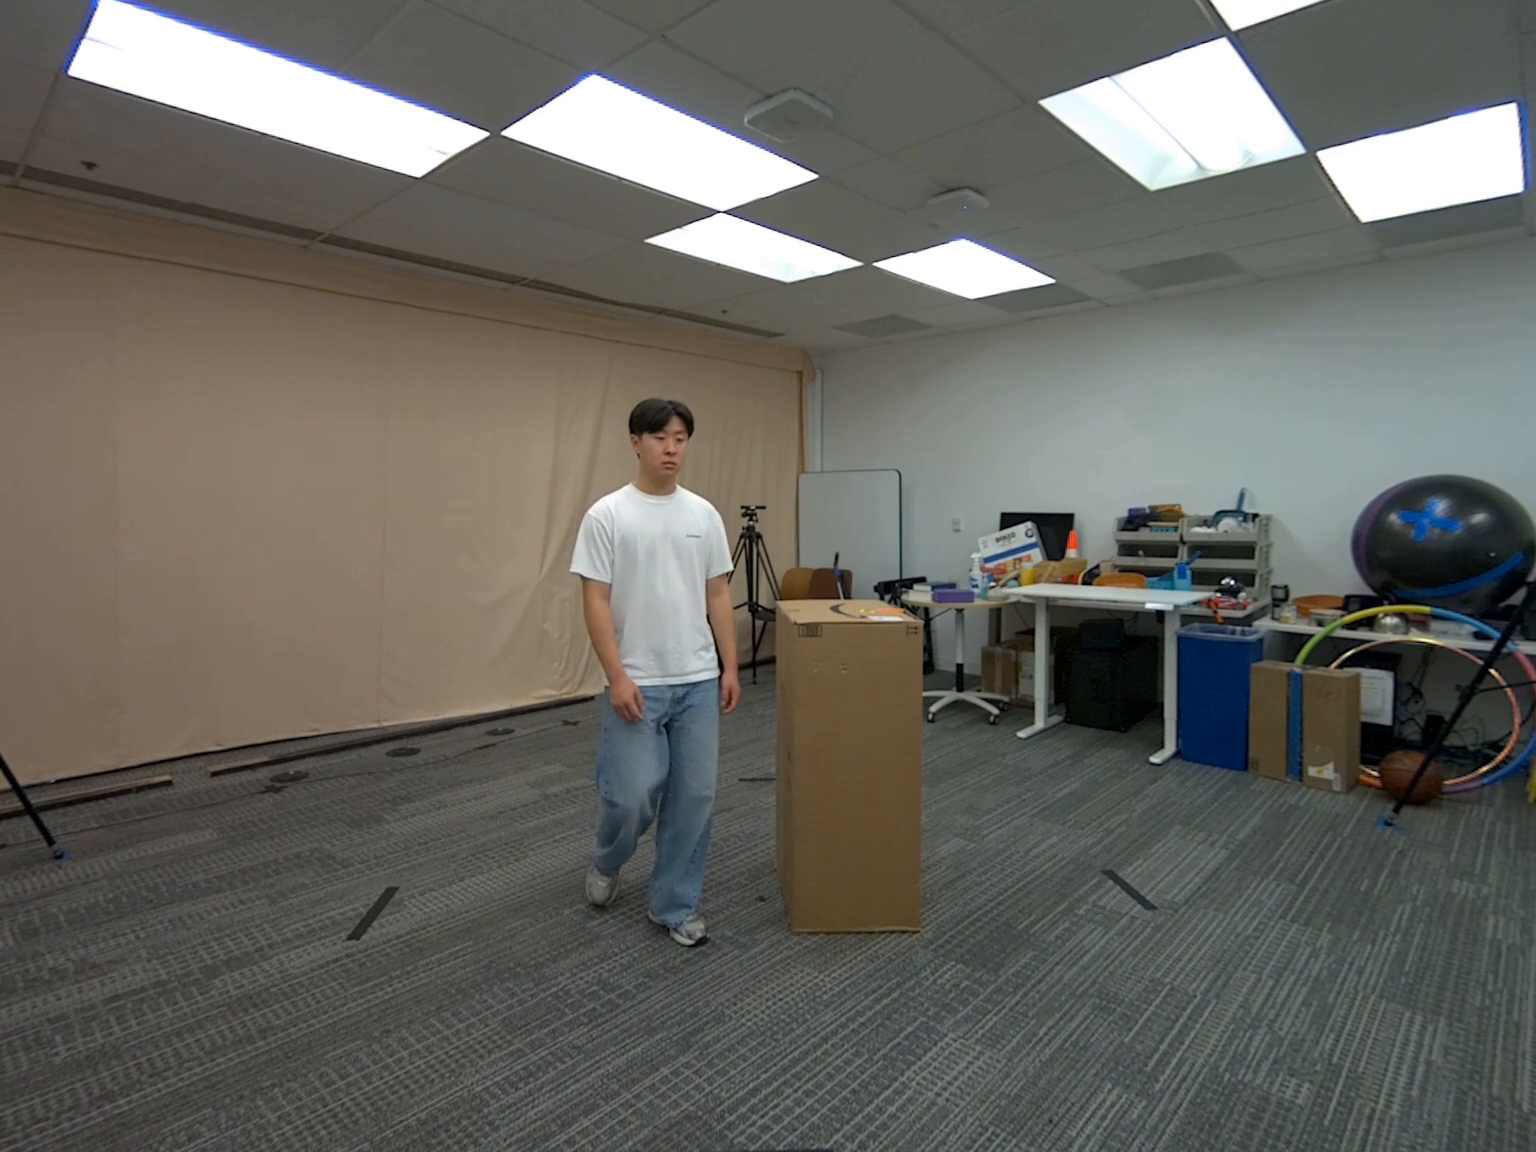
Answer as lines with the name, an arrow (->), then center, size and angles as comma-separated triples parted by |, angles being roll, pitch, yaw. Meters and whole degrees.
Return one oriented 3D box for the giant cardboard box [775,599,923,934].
giant cardboard box -> 0.272, 0.632, 2.998 | 0.424, 1.024, 0.581 | 0, 3, -5
